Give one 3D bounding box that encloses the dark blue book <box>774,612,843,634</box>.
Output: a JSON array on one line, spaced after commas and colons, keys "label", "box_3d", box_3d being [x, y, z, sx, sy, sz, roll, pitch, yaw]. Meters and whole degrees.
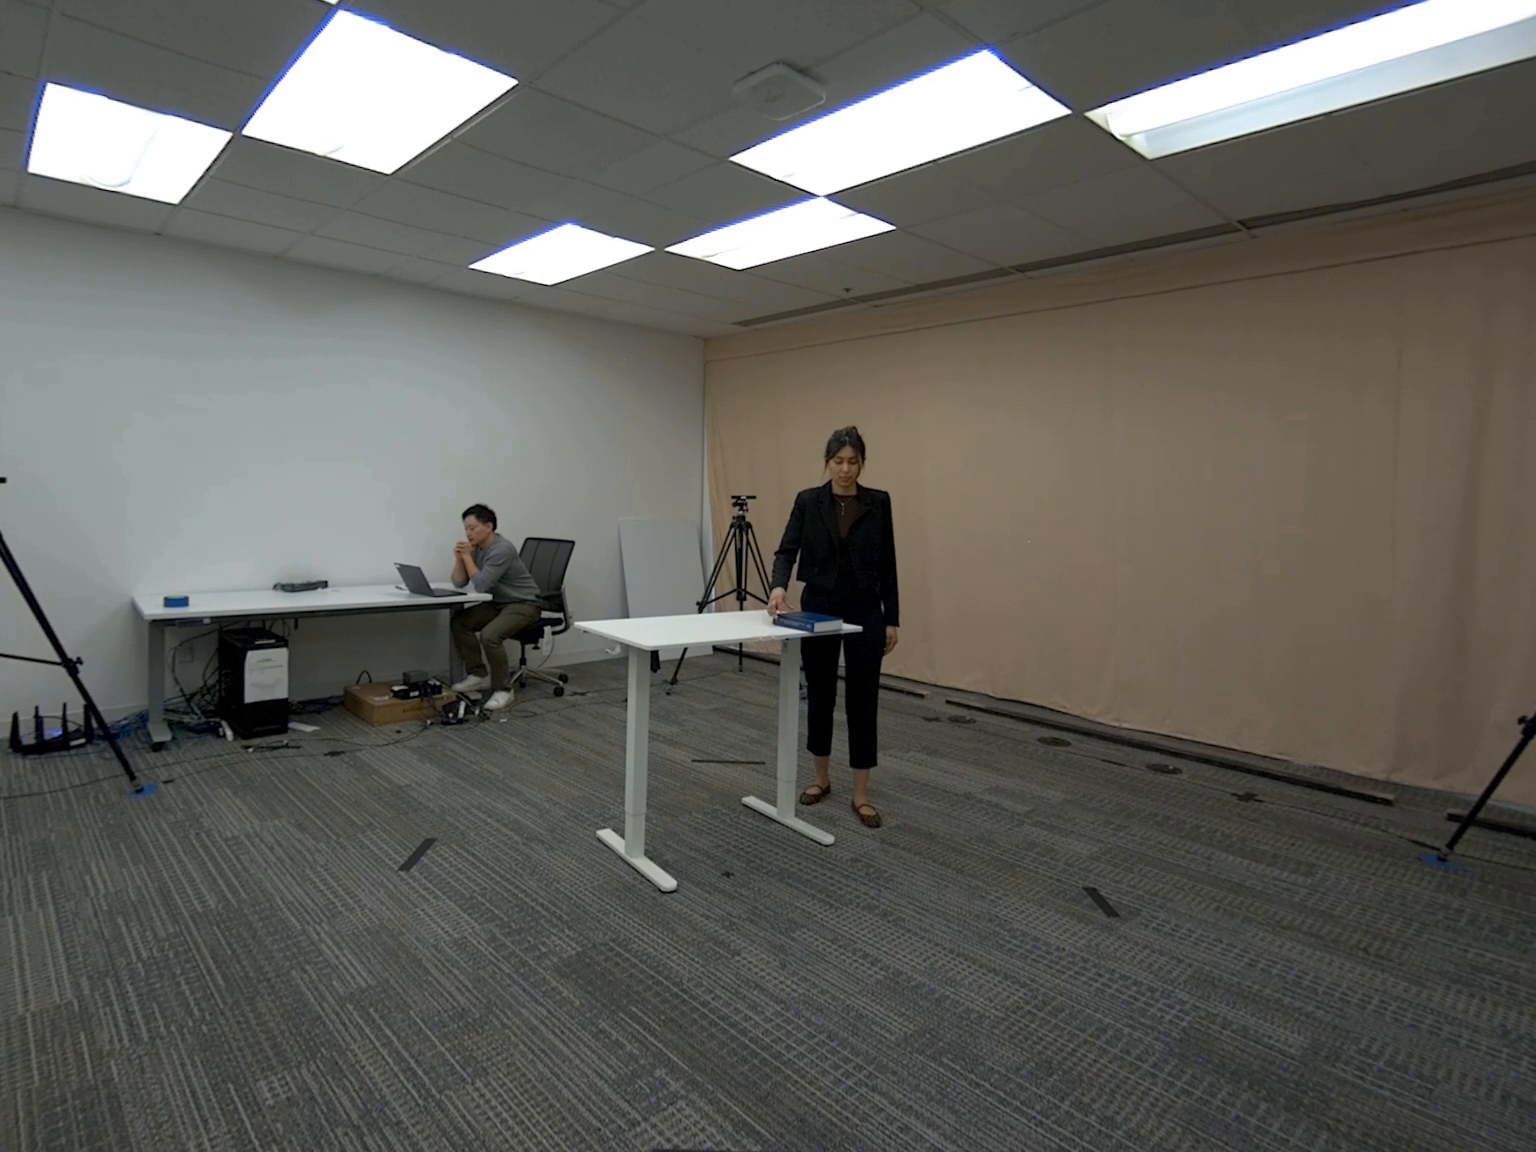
[{"label": "dark blue book", "box_3d": [0.156, 0.185, 3.354, 0.160, 0.045, 0.251, -3, 6, -37]}]
